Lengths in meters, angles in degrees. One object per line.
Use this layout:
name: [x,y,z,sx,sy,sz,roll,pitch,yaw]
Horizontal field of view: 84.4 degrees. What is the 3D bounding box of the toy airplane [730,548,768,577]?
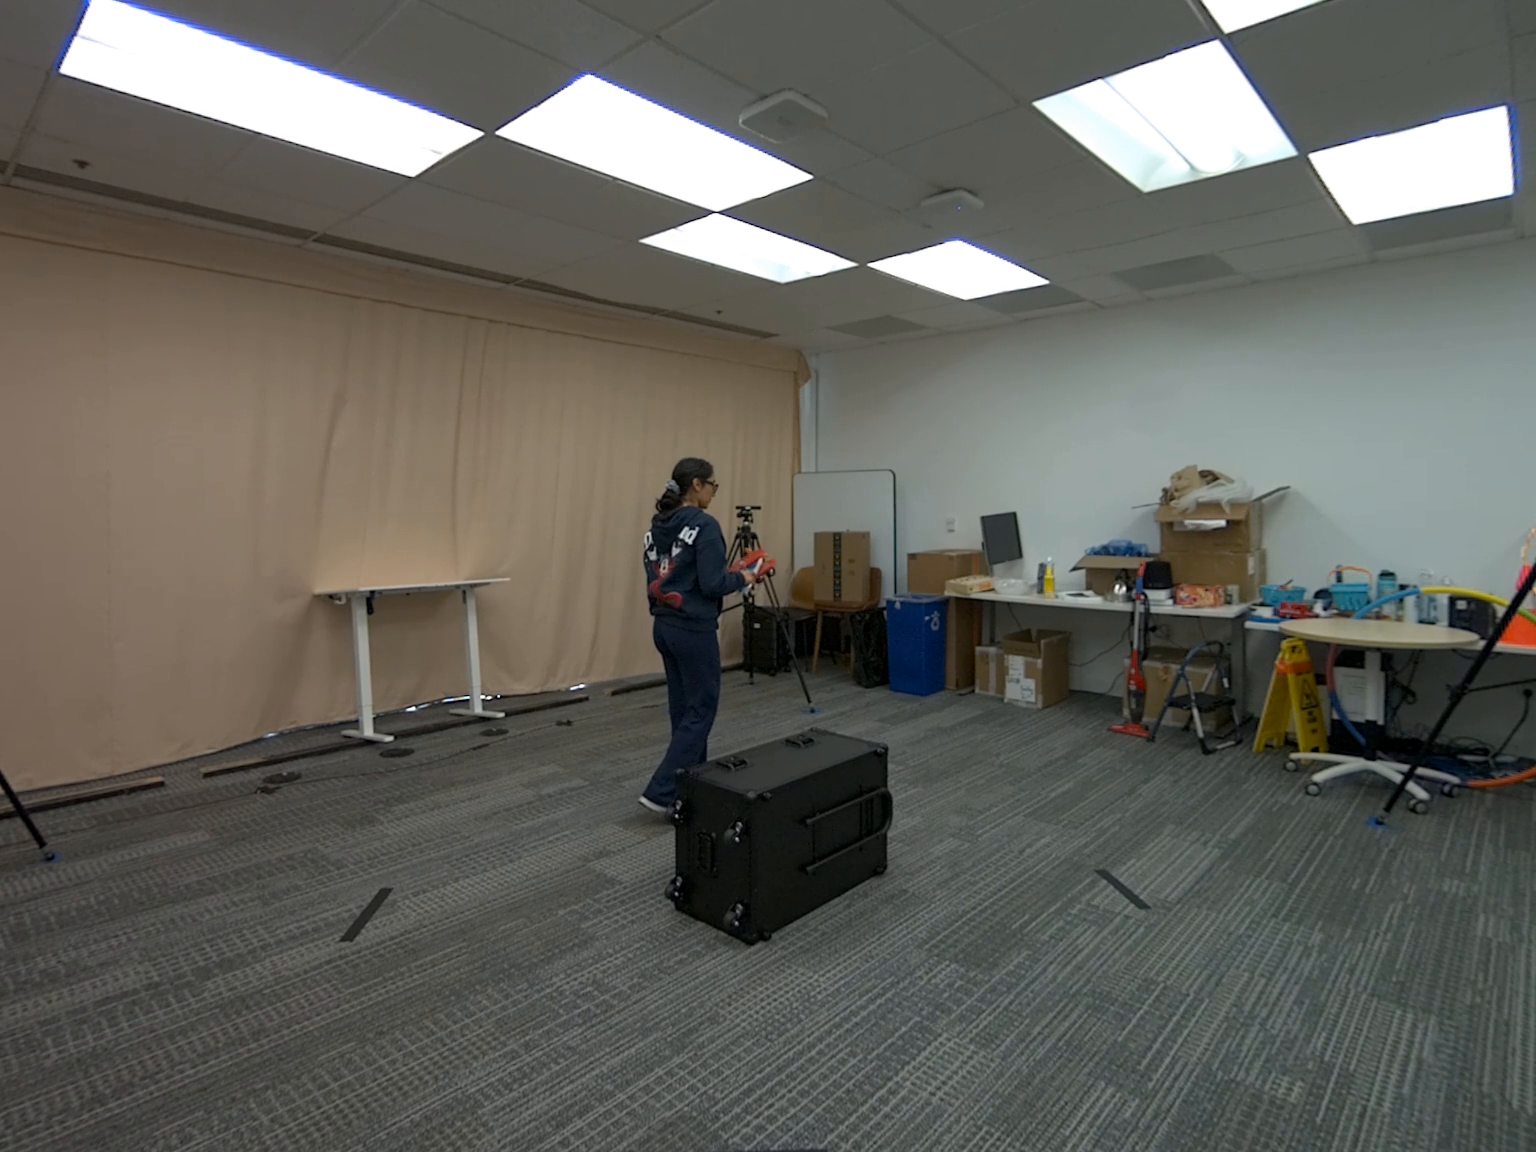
toy airplane: [-0.054,-0.017,3.976,0.253,0.155,0.260,-36,8,12]
